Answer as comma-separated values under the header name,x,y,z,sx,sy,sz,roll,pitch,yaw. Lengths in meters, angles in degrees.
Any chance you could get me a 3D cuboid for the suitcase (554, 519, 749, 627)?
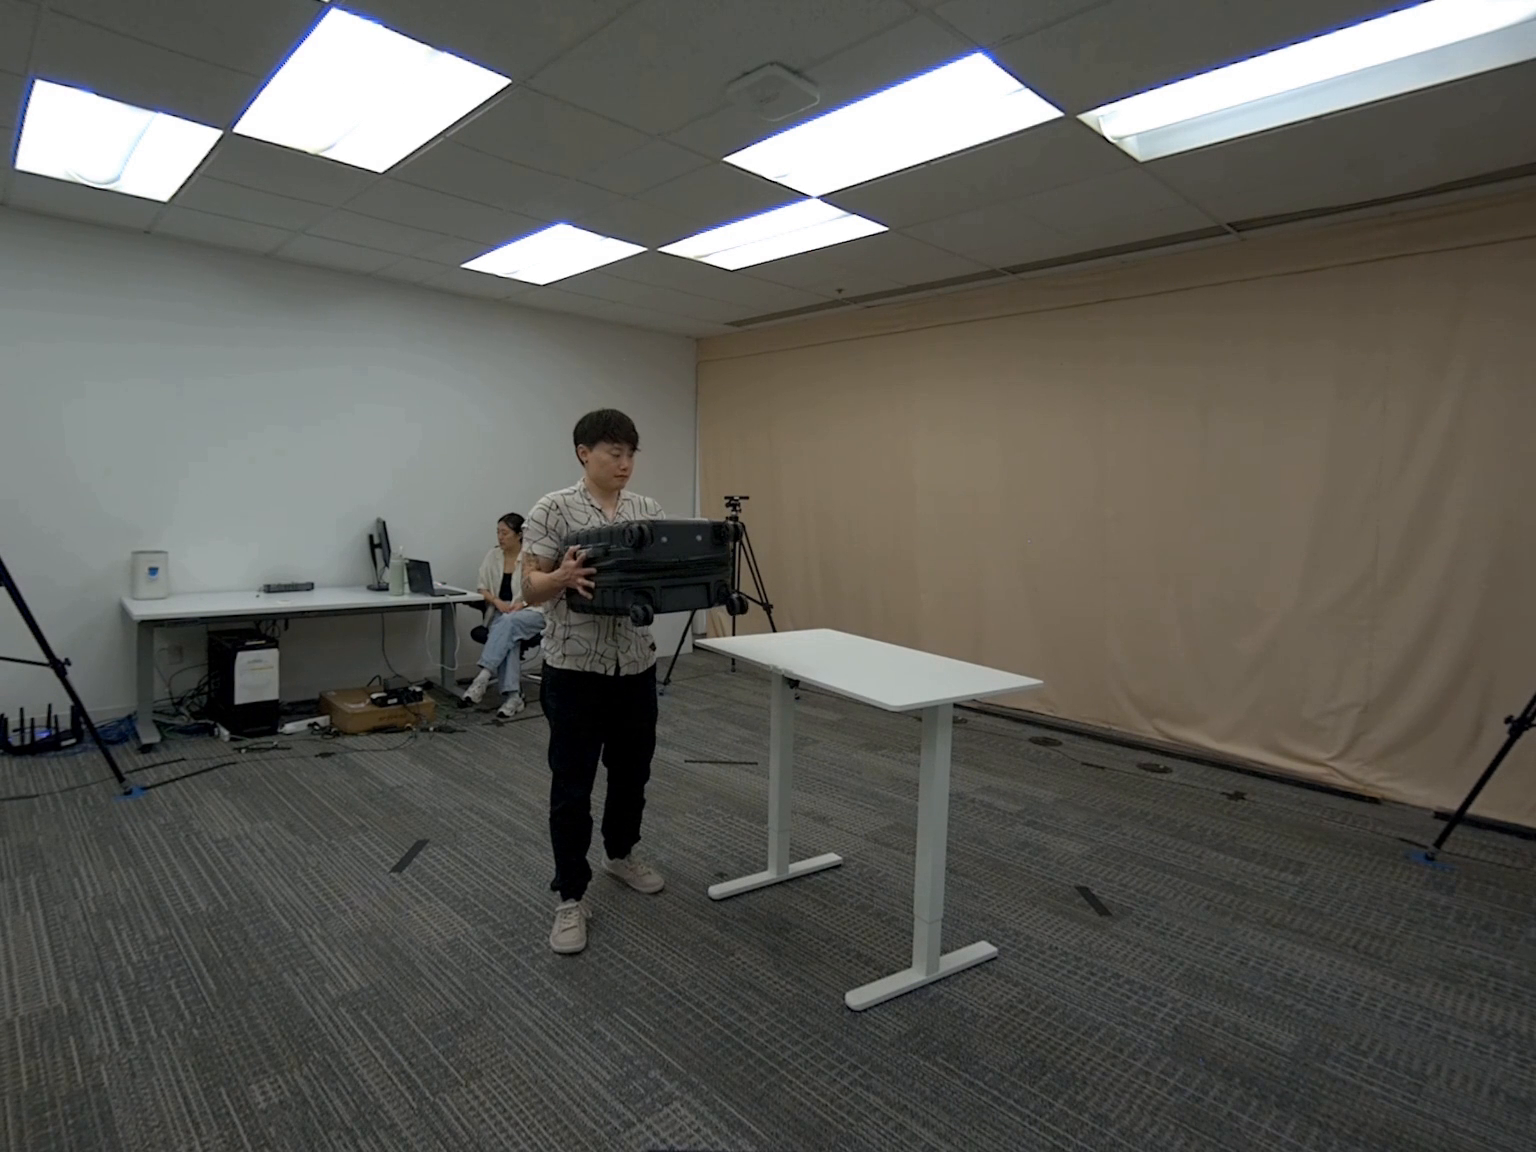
name,x,y,z,sx,sy,sz,roll,pitch,yaw
suitcase,-0.365,-0.021,2.442,0.368,0.248,0.561,-5,2,-33
